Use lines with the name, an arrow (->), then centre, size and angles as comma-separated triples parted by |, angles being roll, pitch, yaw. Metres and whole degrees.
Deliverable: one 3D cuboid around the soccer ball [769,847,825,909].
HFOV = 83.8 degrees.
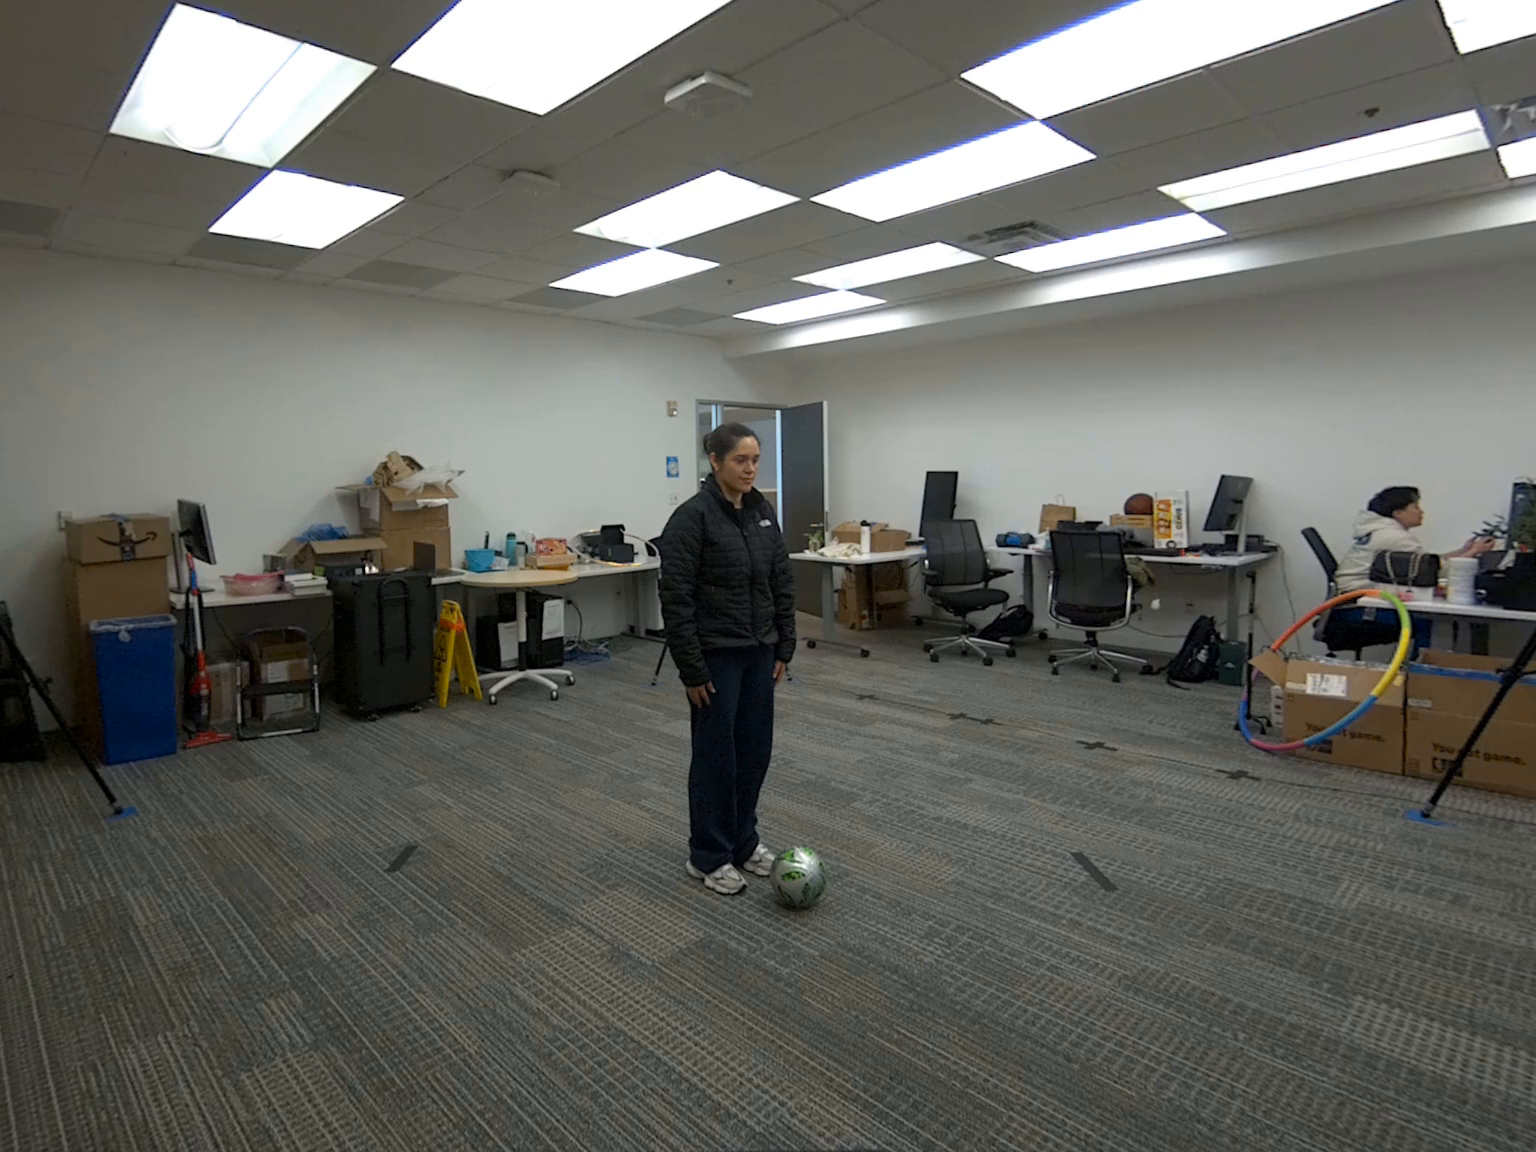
soccer ball -> 0.105, 0.981, 2.800 | 0.187, 0.187, 0.188 | -1, 5, -2
